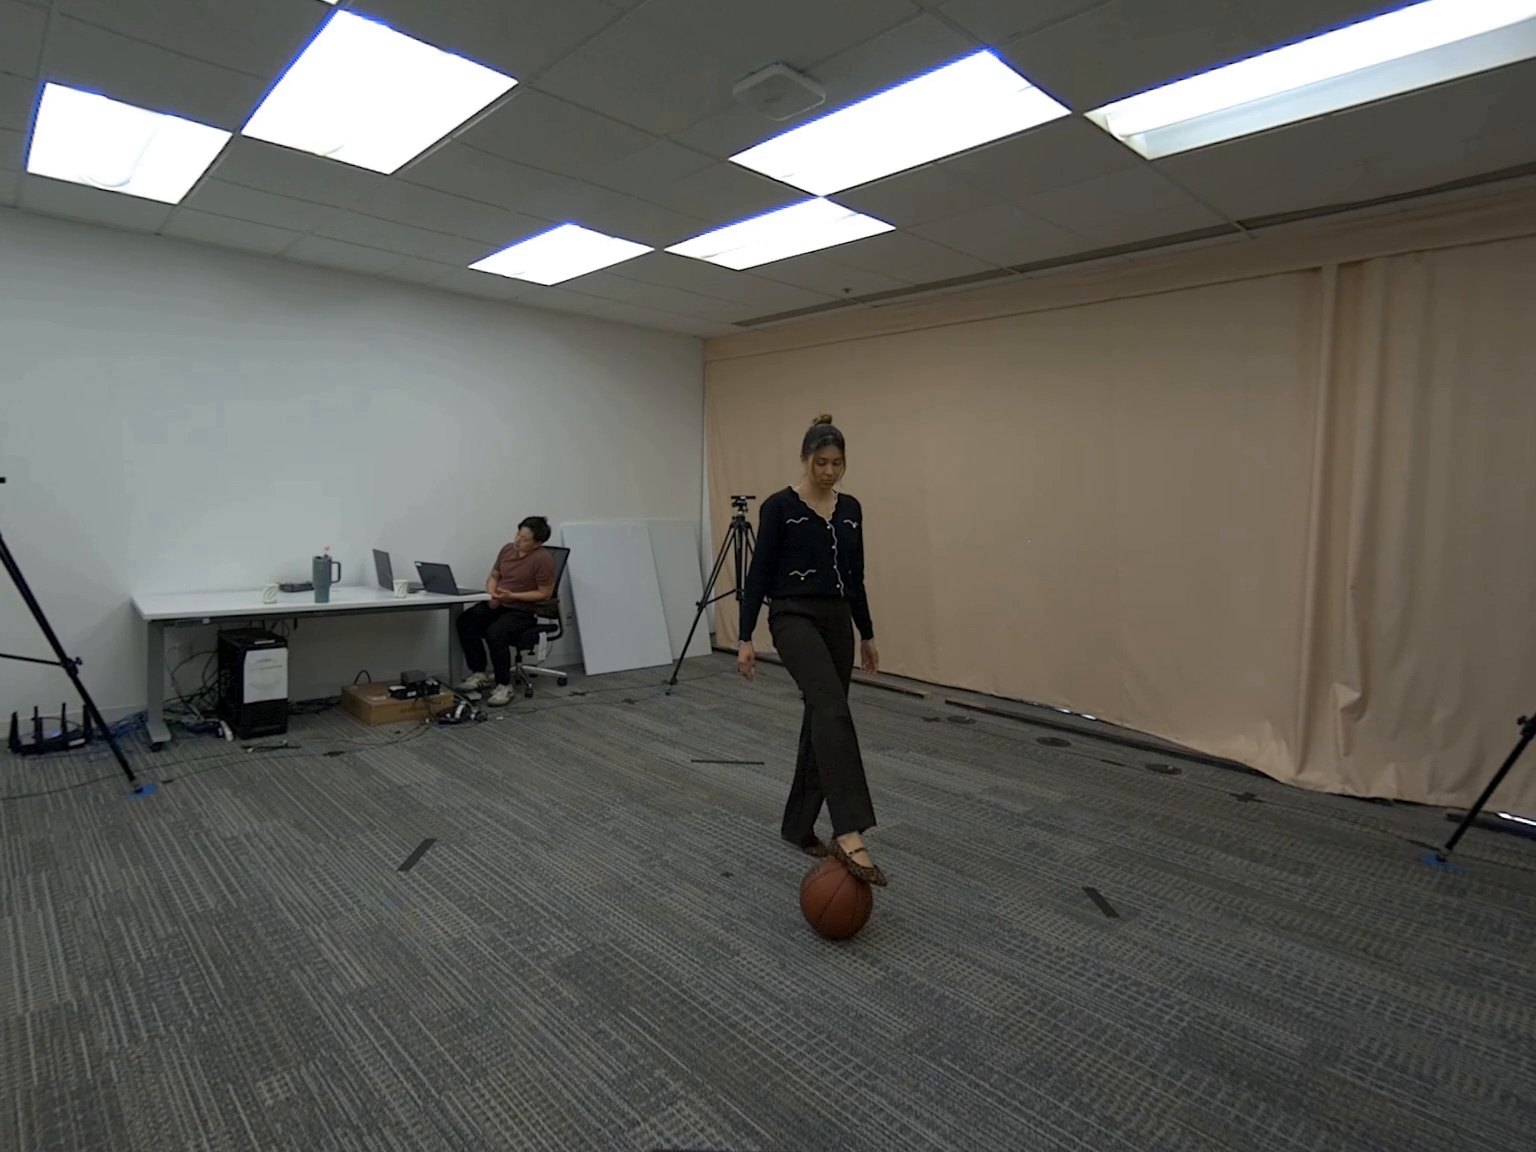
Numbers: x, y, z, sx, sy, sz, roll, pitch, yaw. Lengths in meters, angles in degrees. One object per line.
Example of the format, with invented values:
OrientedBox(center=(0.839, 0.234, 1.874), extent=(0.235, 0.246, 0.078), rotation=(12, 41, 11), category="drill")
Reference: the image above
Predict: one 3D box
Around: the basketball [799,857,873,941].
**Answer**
OrientedBox(center=(0.206, 1.031, 2.702), extent=(0.236, 0.235, 0.237), rotation=(1, 4, -1), category="basketball")
